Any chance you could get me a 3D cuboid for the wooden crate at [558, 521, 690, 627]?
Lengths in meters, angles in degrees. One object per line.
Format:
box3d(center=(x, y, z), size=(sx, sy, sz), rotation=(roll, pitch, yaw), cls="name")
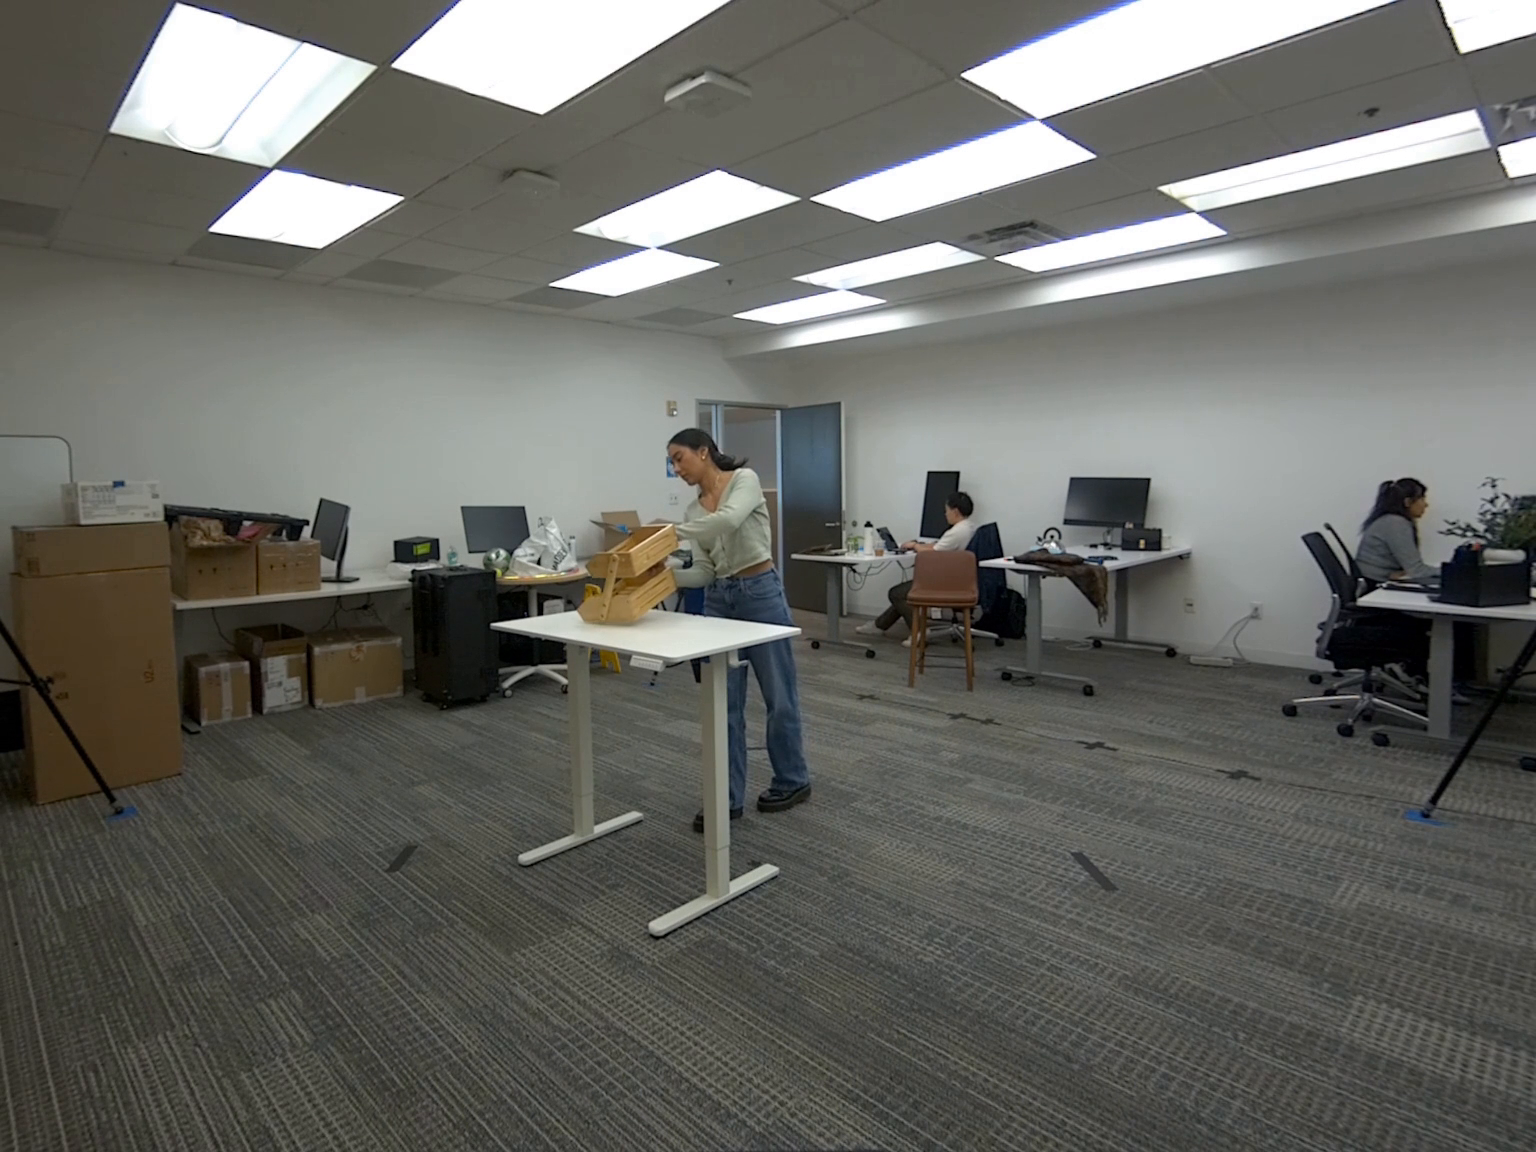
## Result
box3d(center=(-0.520, -0.011, 3.152), size=(0.309, 0.269, 0.322), rotation=(-4, 19, 29), cls="wooden crate")
